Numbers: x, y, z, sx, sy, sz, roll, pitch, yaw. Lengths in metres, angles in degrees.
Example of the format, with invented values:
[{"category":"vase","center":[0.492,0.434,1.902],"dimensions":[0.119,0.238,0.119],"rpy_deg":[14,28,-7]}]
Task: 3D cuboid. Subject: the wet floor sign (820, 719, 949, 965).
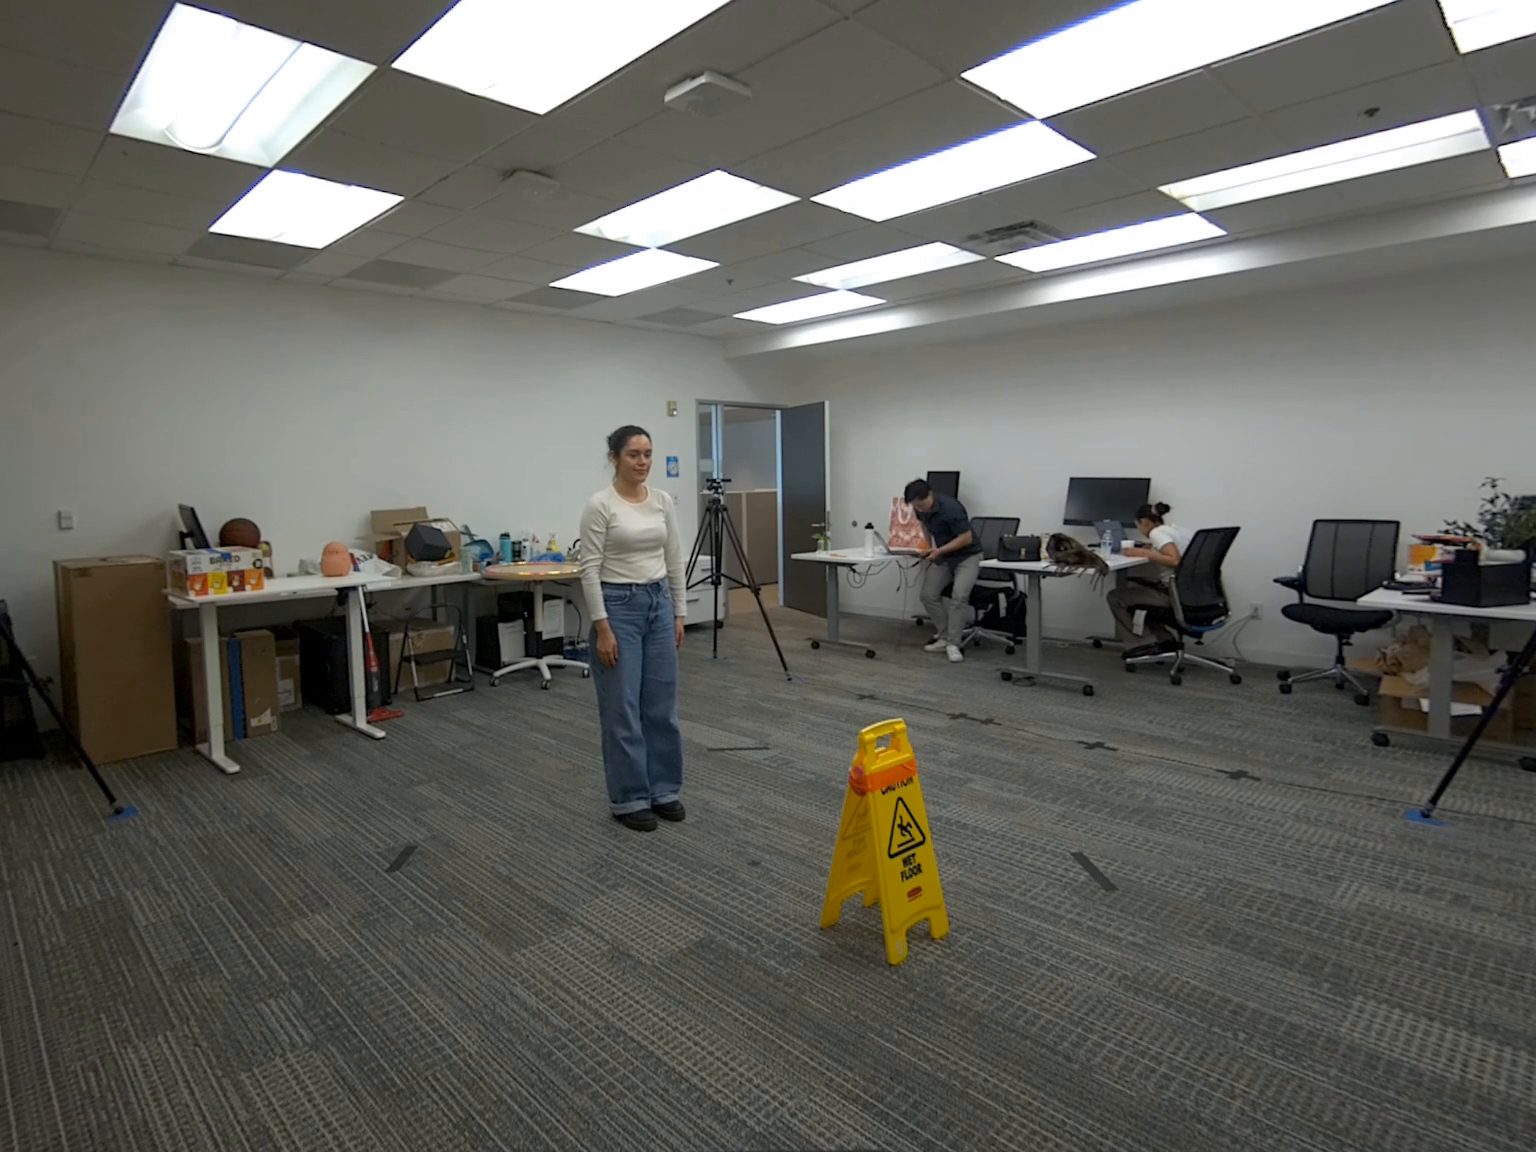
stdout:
[{"category":"wet floor sign","center":[0.359,0.772,2.608],"dimensions":[0.275,0.643,0.299],"rpy_deg":[-6,7,-42]}]
